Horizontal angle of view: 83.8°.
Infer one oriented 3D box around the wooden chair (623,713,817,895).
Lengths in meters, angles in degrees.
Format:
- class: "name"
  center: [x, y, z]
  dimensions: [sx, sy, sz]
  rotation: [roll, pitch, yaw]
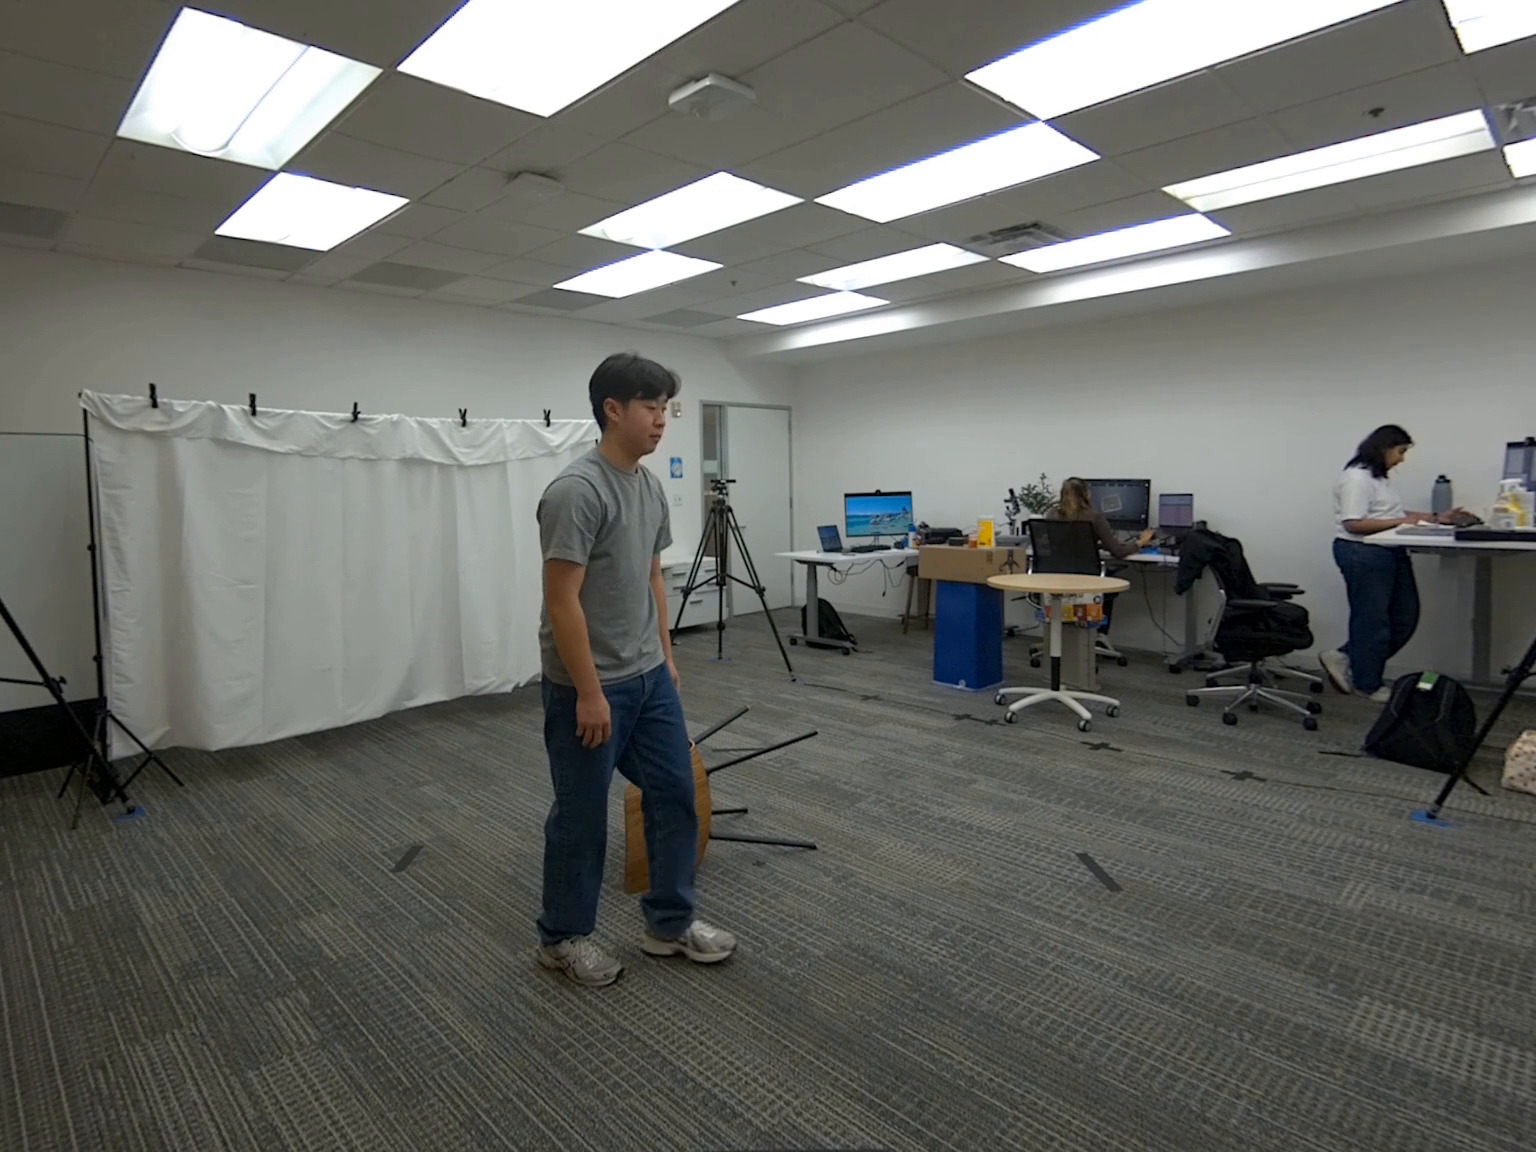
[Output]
- class: "wooden chair"
  center: [-0.292, 0.815, 3.162]
  dimensions: [0.854, 0.476, 0.539]
  rotation: [-6, 7, -40]
